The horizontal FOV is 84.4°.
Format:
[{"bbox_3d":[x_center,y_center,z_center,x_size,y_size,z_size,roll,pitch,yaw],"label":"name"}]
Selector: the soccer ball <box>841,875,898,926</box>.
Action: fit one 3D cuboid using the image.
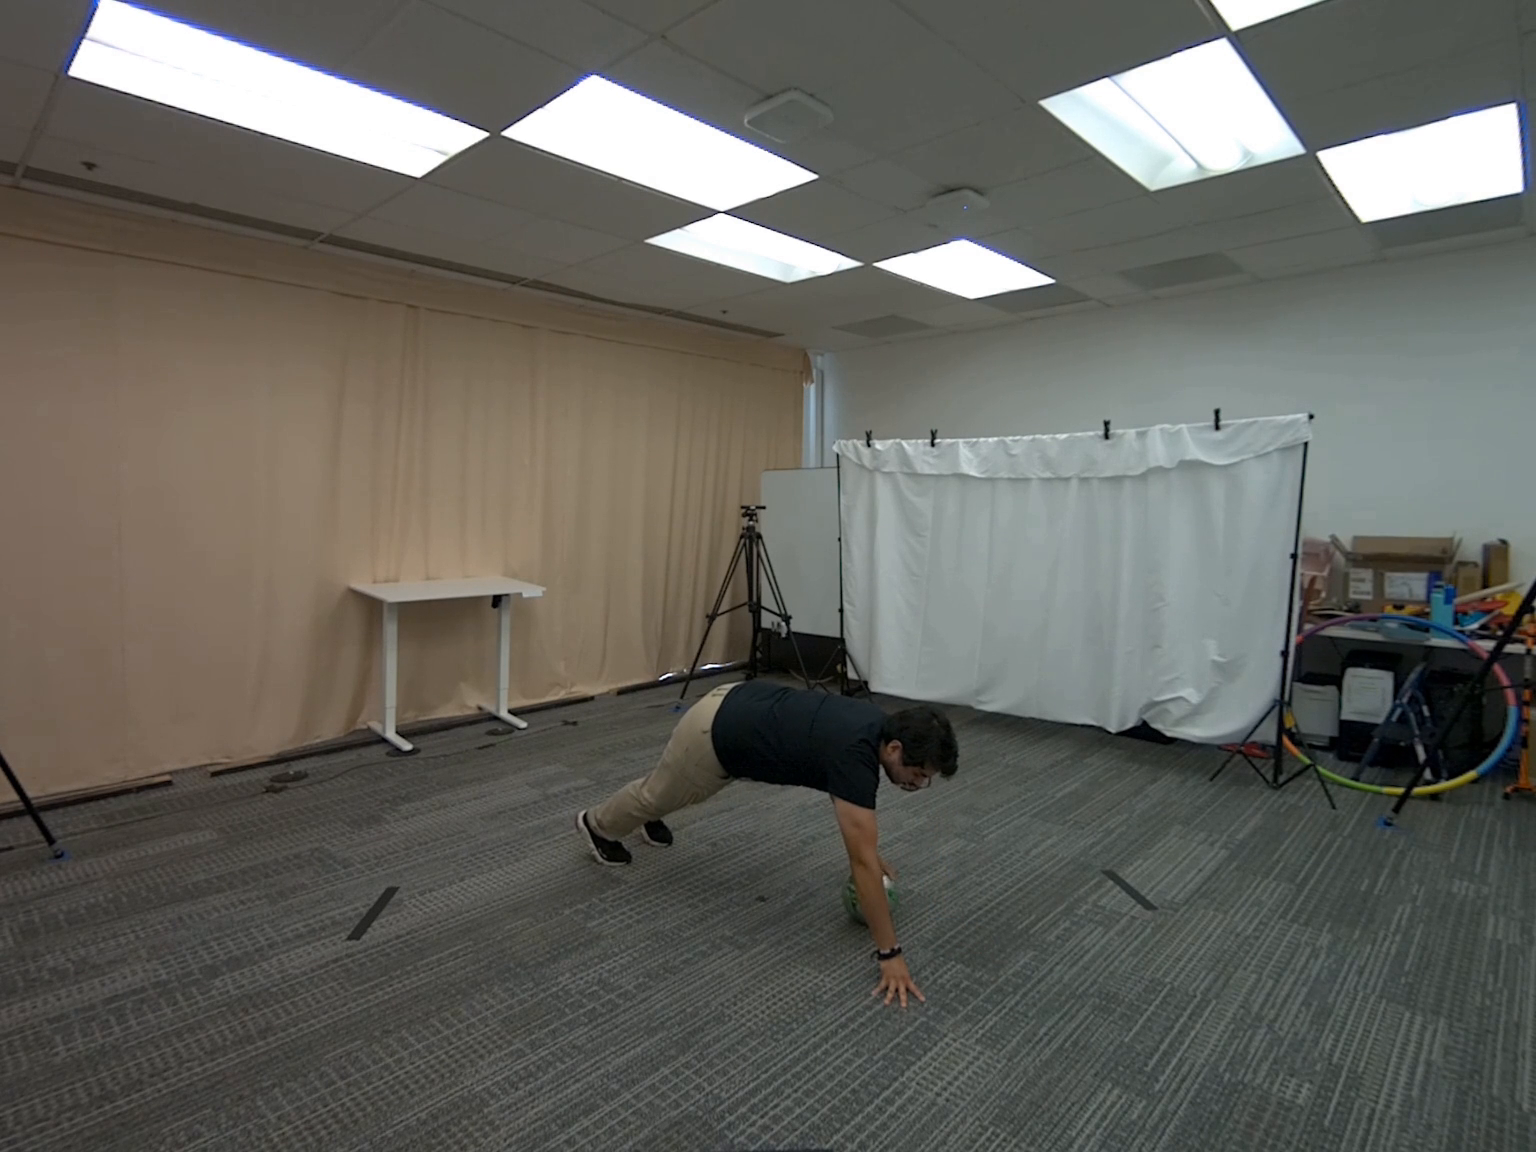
[{"bbox_3d":[0.327,1.068,2.803,0.187,0.187,0.188,0,4,-2],"label":"soccer ball"}]
